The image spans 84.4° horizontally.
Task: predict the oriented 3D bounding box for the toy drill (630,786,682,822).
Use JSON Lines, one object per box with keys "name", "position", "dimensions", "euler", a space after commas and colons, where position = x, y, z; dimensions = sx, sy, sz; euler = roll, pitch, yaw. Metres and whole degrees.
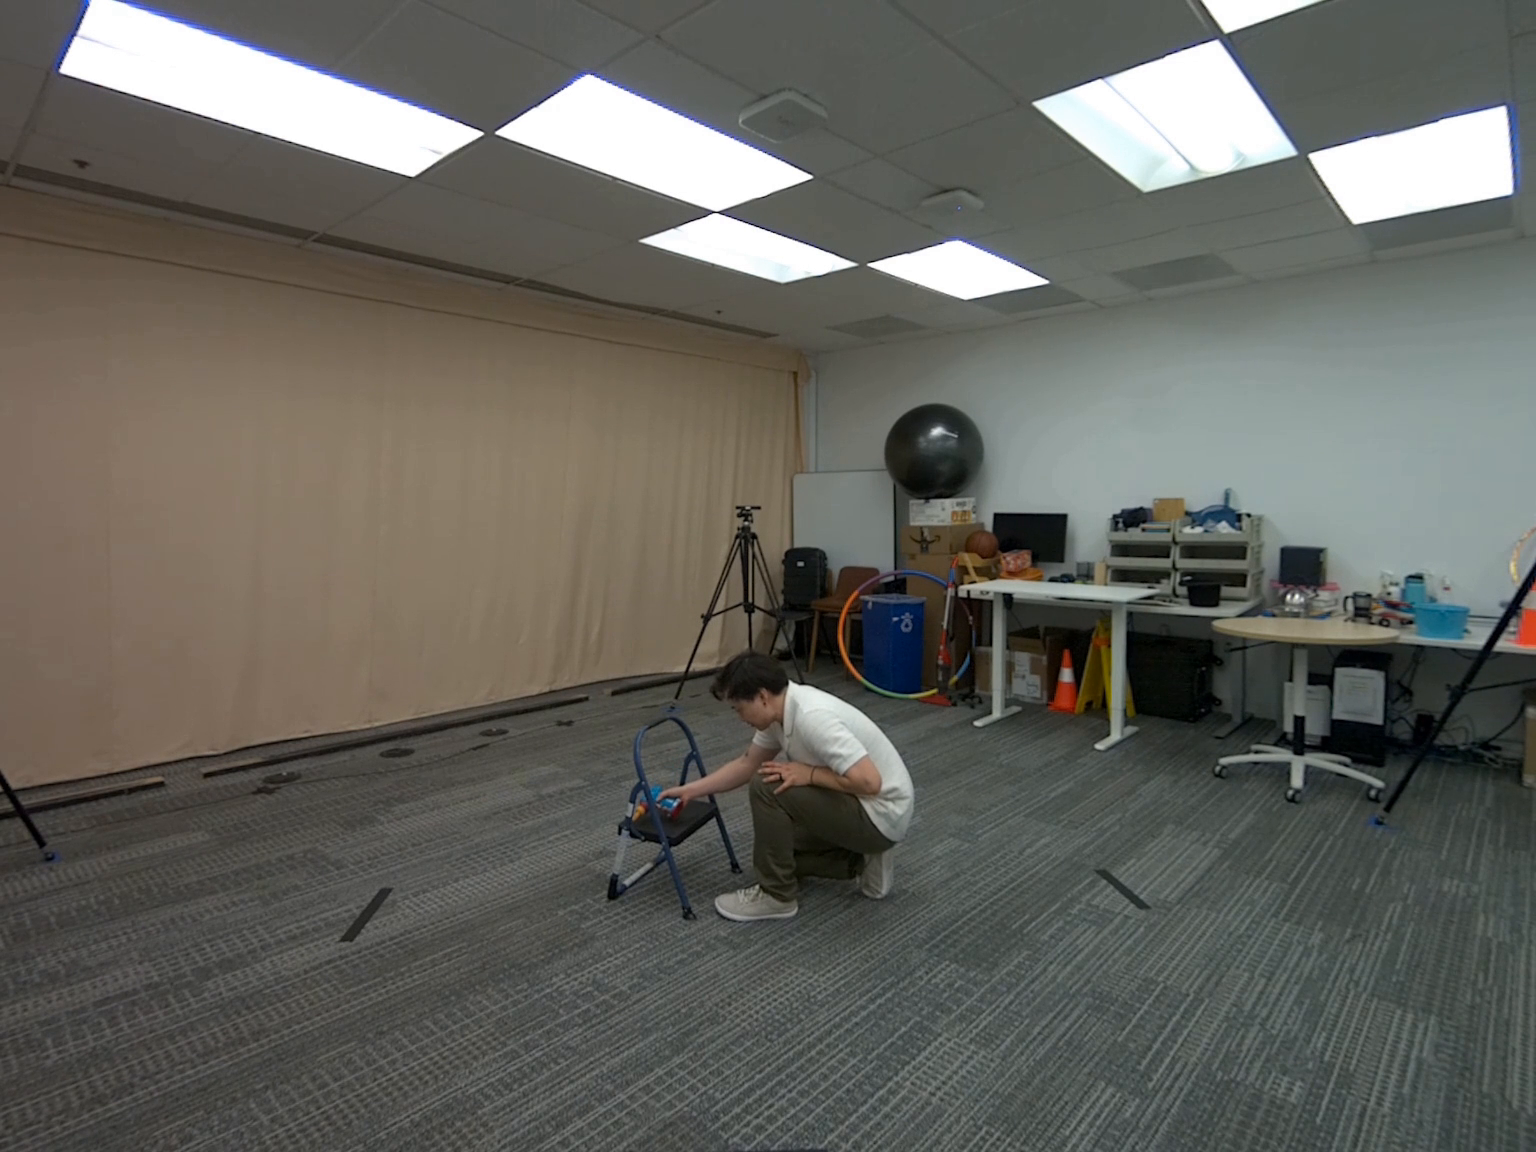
{"name": "toy drill", "position": [-0.397, 0.835, 2.997], "dimensions": [0.151, 0.060, 0.168], "euler": [12, 39, 30]}
